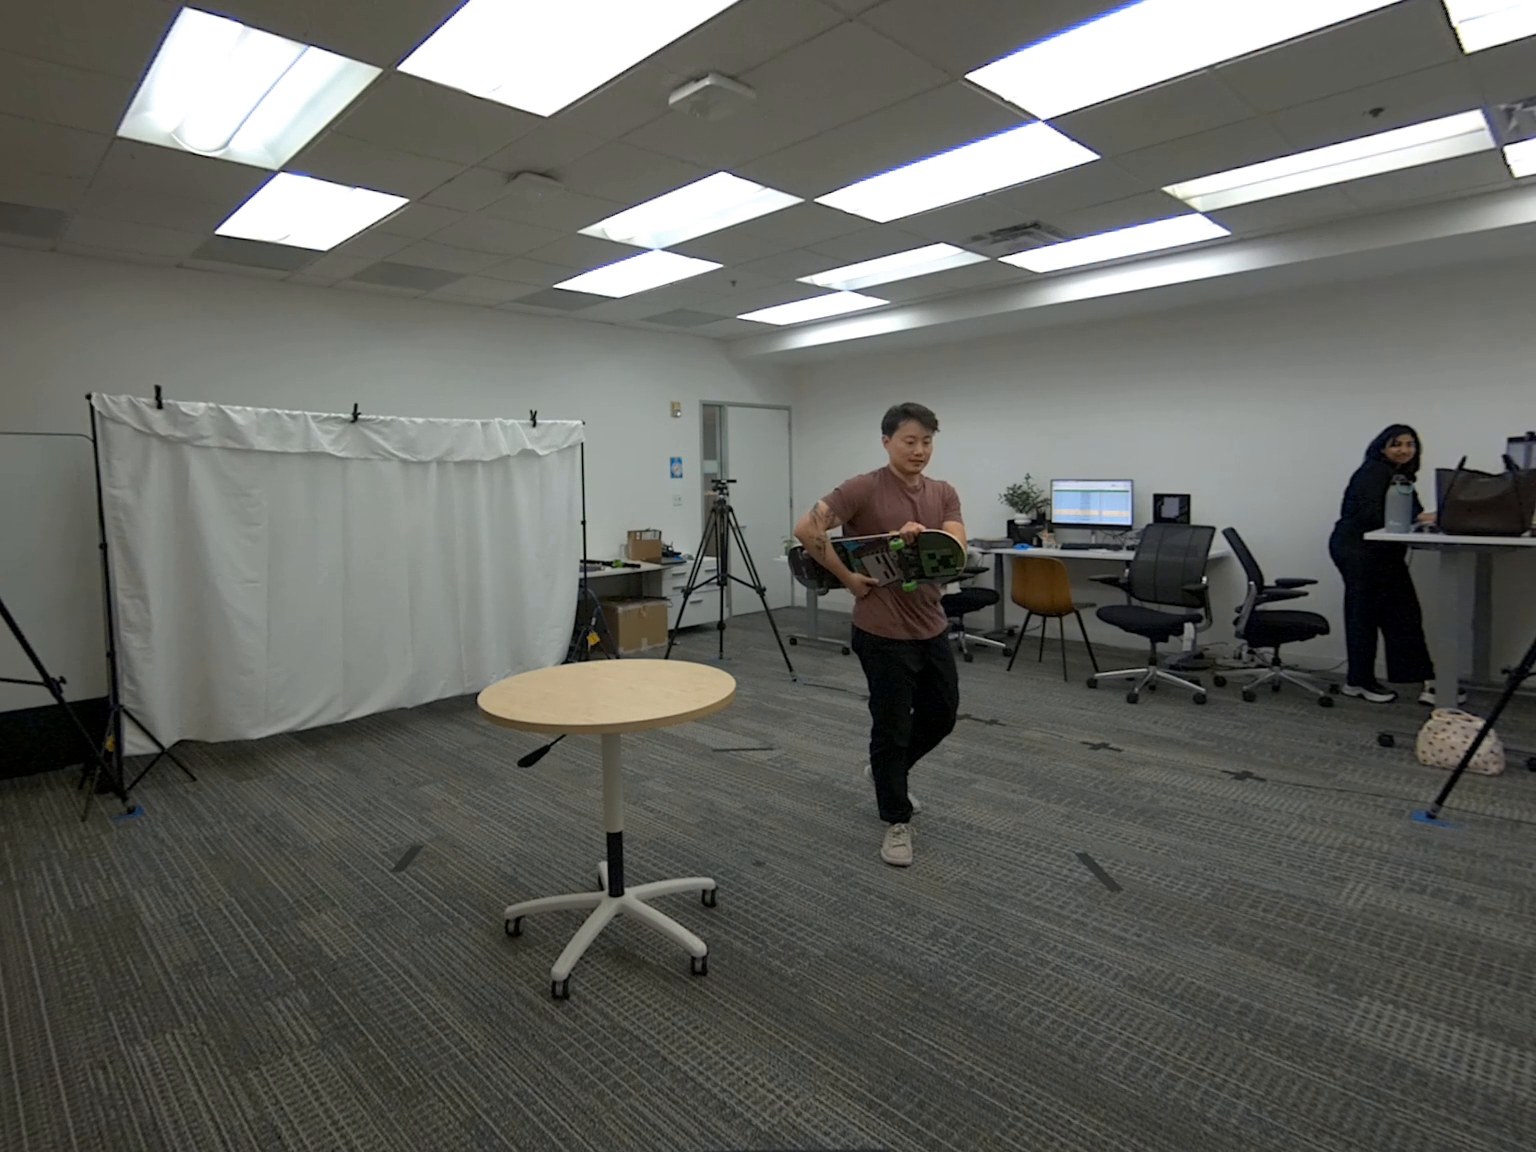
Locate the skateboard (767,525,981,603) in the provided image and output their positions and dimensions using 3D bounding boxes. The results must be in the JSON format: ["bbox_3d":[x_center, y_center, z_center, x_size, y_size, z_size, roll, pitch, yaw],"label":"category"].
[{"bbox_3d":[0.350,-0.036,3.072,0.806,0.190,0.109,-5,20,44],"label":"skateboard"}]
